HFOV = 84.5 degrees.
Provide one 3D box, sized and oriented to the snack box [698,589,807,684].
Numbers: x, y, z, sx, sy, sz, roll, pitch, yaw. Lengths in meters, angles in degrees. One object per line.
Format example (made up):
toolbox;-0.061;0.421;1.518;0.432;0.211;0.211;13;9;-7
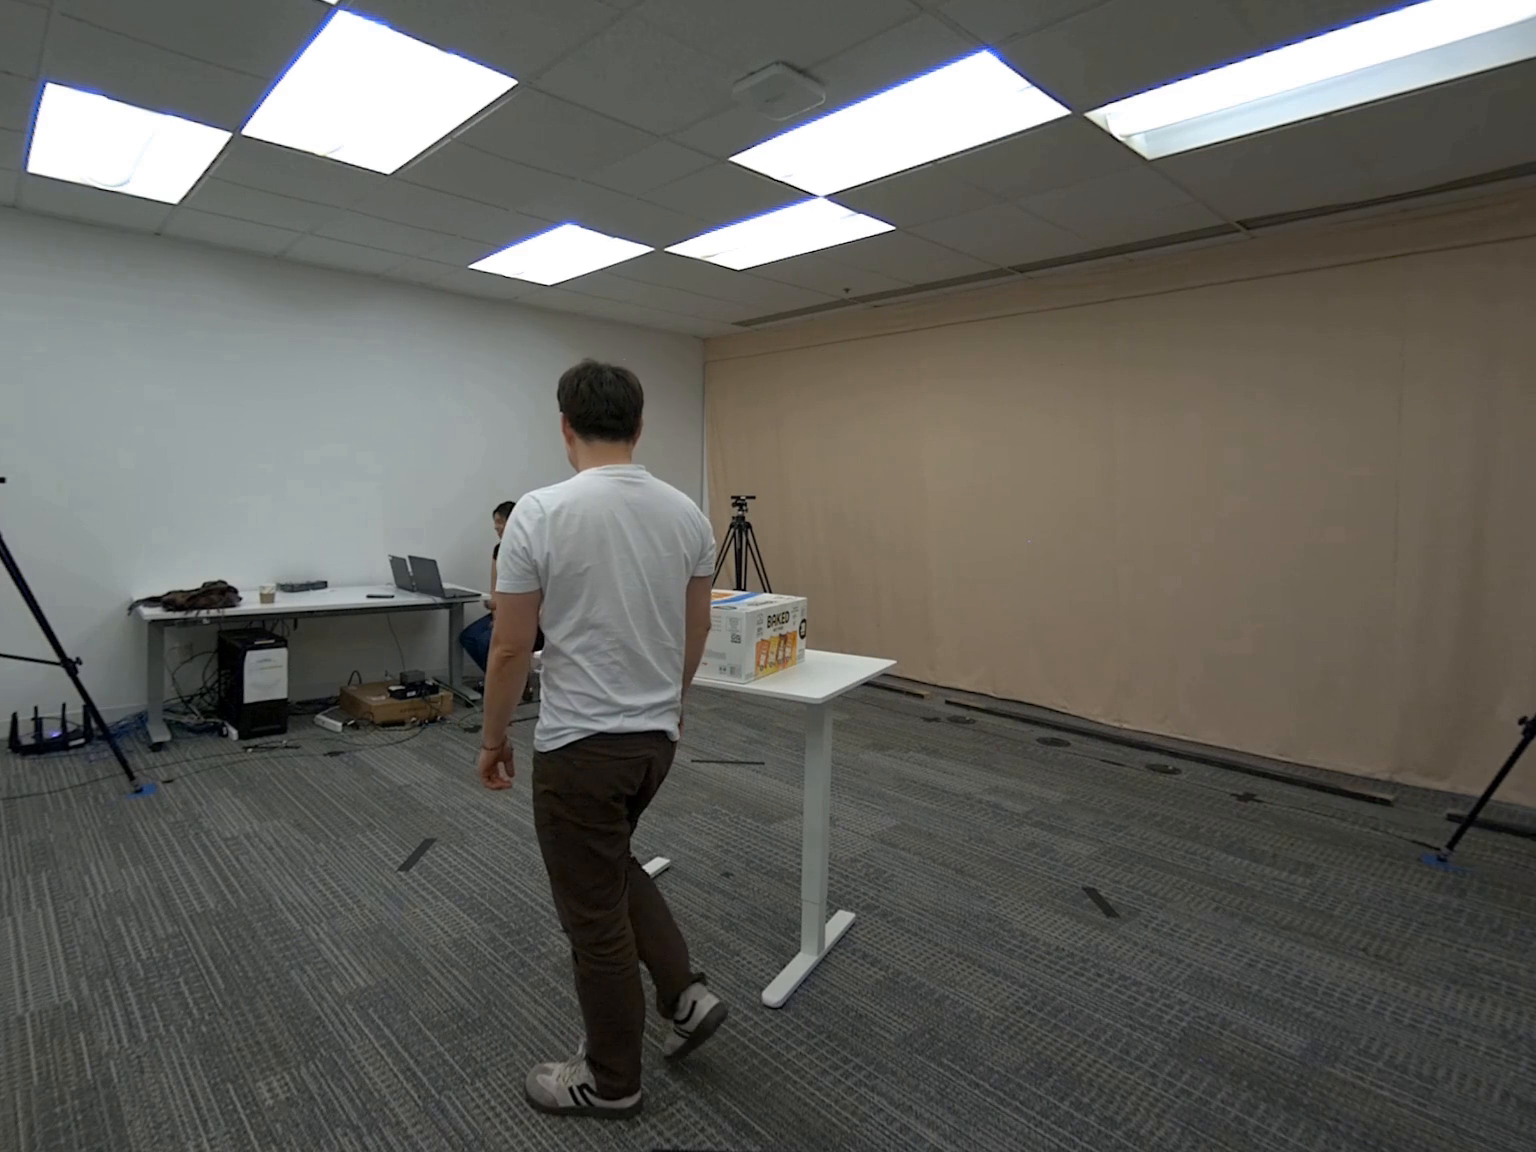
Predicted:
snack box;-0.124;0.174;2.552;0.347;0.205;0.398;4;6;28
